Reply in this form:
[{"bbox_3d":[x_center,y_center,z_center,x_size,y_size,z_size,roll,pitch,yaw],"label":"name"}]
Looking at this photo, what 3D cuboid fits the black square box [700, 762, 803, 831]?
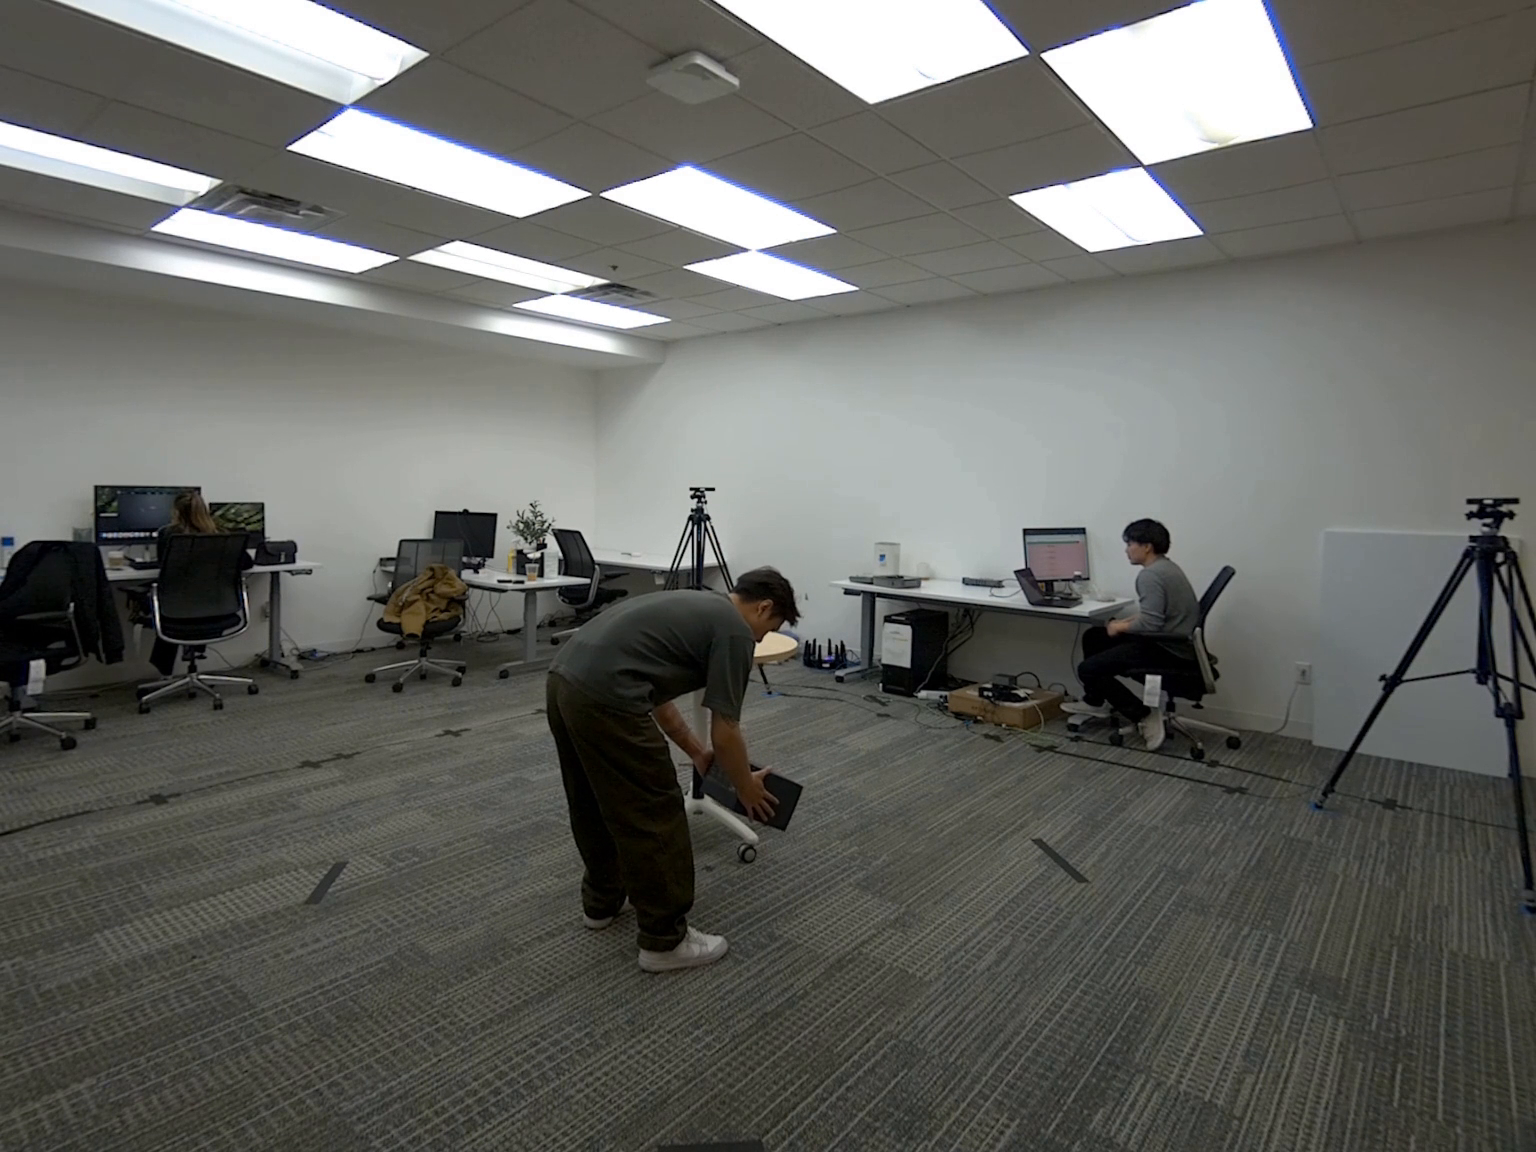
[{"bbox_3d":[-0.061,0.694,2.793,0.219,0.156,0.224,31,-12,-32],"label":"black square box"}]
